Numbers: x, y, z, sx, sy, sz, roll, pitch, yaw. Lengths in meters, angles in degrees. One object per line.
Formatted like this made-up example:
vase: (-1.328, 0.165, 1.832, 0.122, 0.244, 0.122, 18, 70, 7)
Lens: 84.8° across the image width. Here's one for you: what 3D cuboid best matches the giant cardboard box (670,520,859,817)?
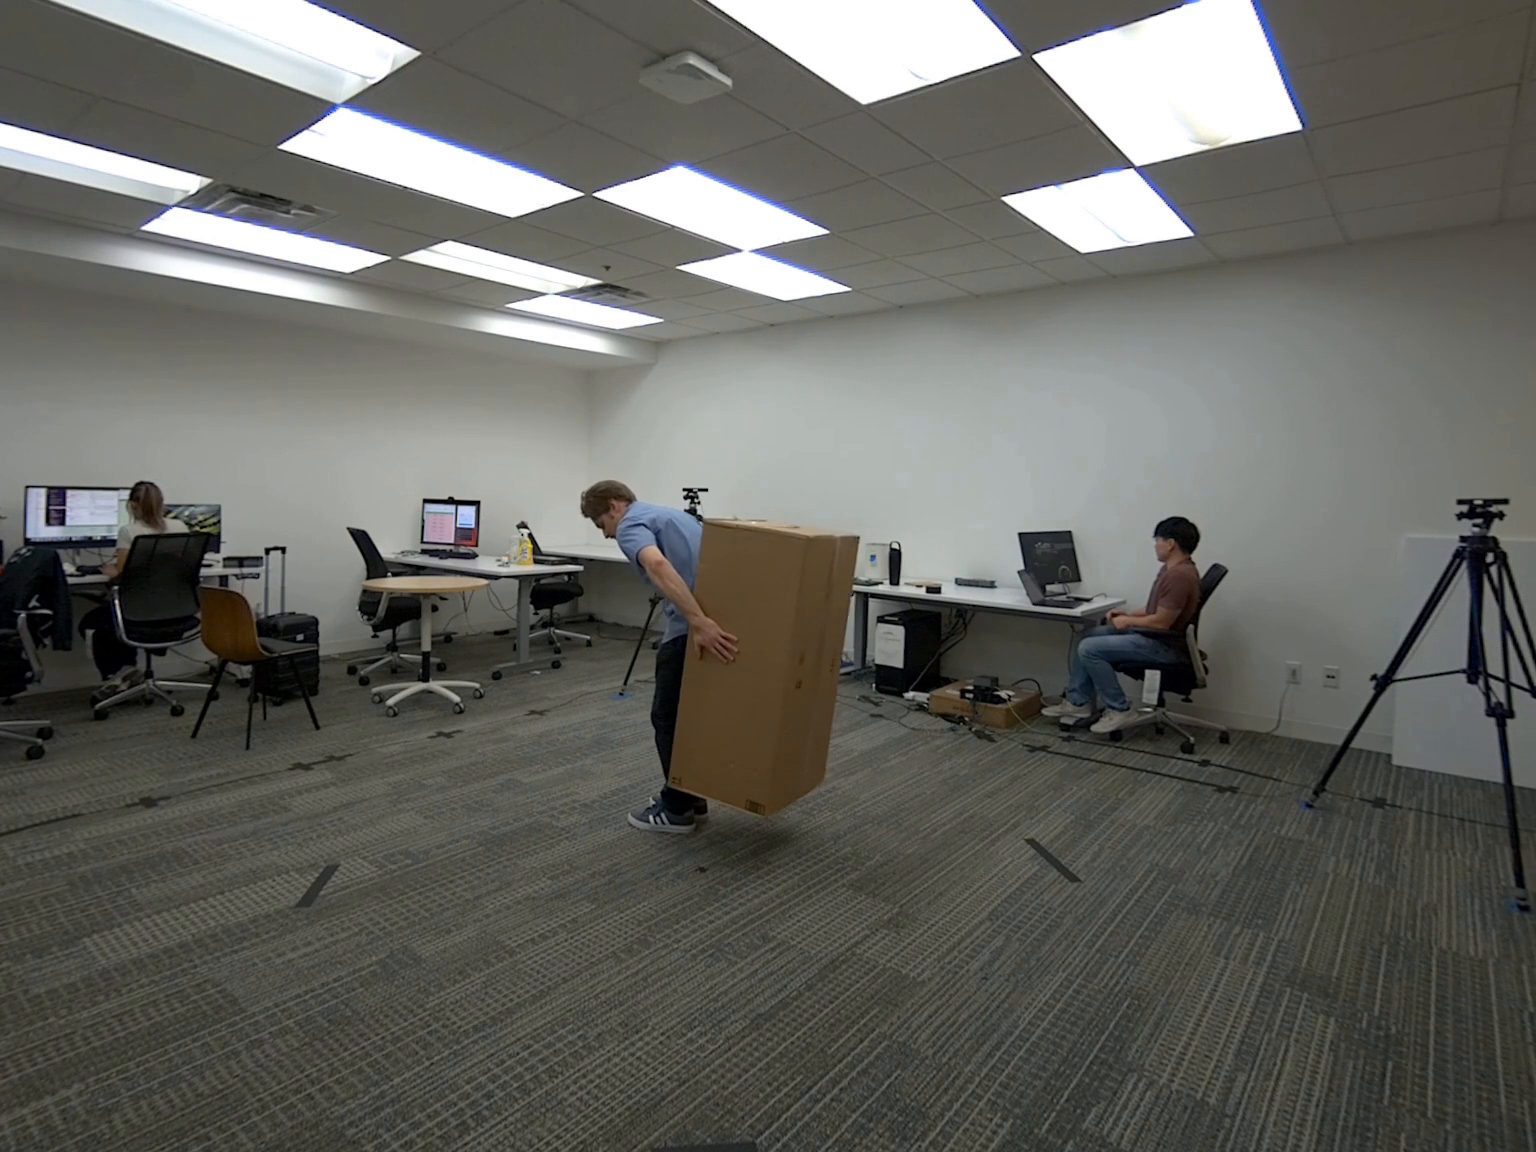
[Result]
giant cardboard box: (-0.013, 0.318, 3.314, 0.460, 1.023, 0.569, 10, 5, 25)
